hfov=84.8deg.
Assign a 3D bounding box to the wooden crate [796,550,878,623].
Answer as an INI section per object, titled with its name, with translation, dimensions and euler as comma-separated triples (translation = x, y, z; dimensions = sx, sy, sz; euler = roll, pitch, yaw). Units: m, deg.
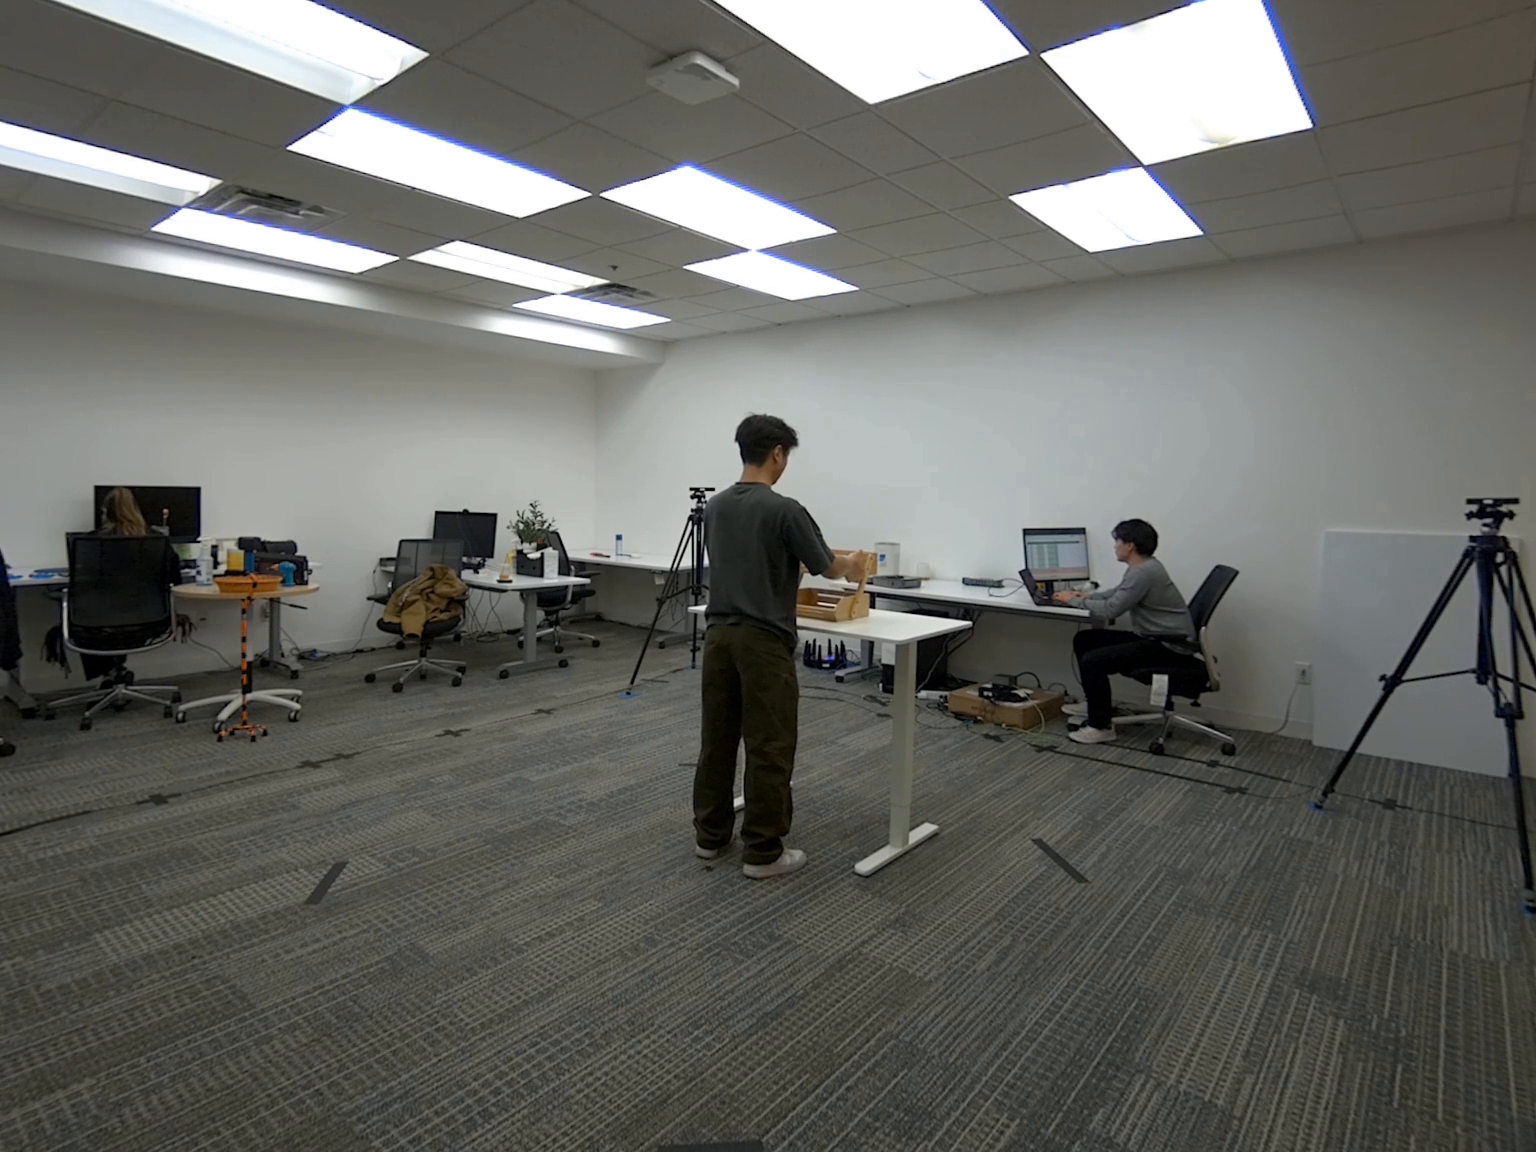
[wooden crate]
translation = 0.230, 0.022, 3.496
dimensions = 0.335, 0.272, 0.293
euler = 6, 6, 40
